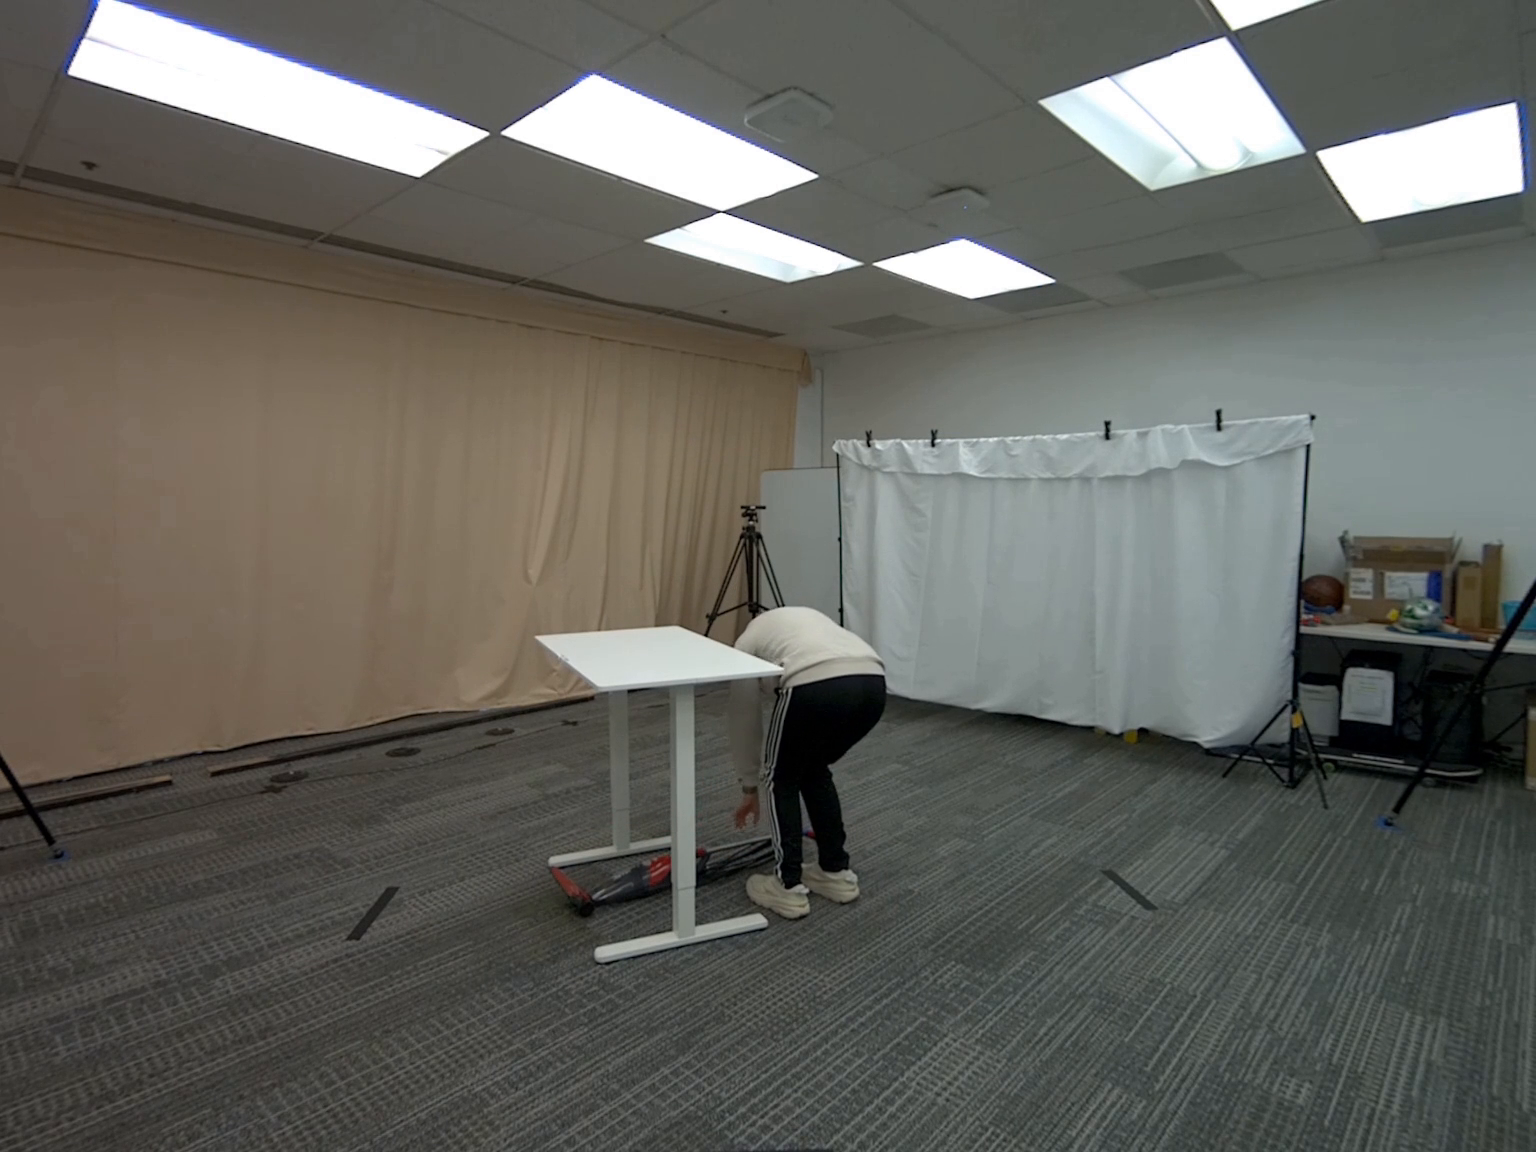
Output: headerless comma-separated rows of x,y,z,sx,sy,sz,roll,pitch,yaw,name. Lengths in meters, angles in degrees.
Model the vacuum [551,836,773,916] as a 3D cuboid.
-0.233,1.075,3.137,1.022,0.144,0.259,-2,3,-28,vacuum
